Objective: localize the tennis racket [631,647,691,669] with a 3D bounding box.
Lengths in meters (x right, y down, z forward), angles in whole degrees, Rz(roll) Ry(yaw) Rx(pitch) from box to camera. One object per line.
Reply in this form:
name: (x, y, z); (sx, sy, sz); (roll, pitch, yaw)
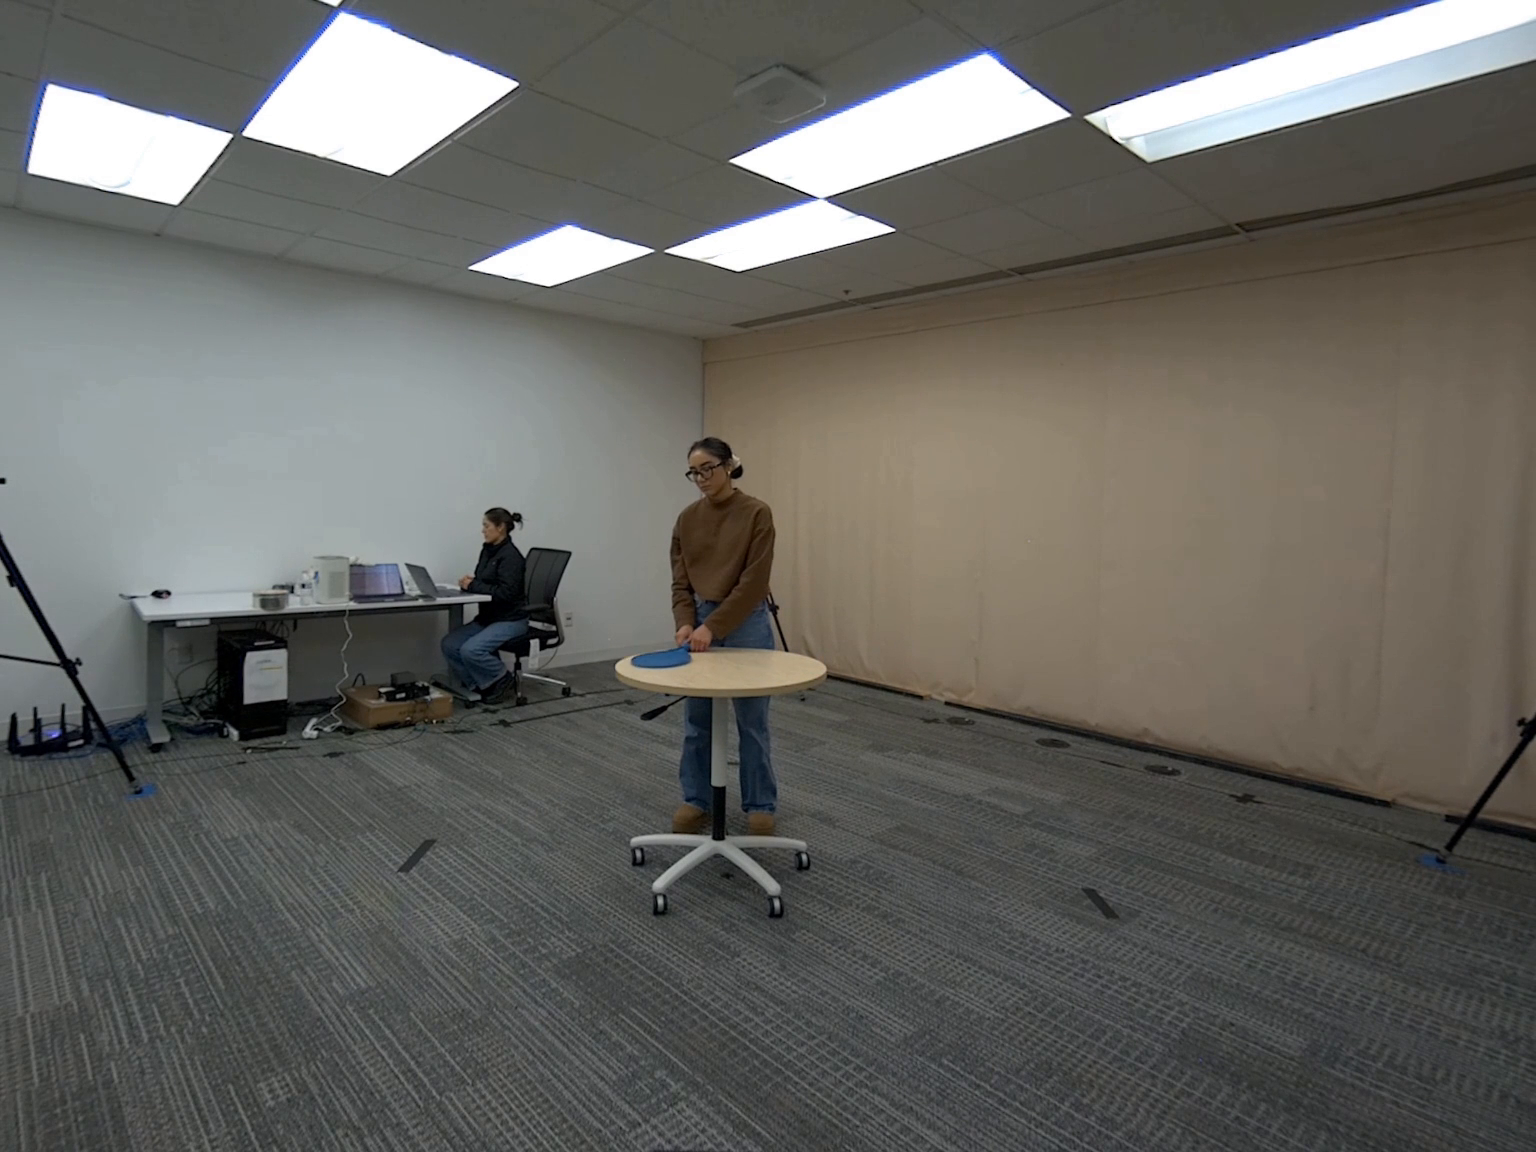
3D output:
tennis racket: (-0.394, 0.305, 3.203); (0.217, 0.031, 0.427); (4, 7, 20)
